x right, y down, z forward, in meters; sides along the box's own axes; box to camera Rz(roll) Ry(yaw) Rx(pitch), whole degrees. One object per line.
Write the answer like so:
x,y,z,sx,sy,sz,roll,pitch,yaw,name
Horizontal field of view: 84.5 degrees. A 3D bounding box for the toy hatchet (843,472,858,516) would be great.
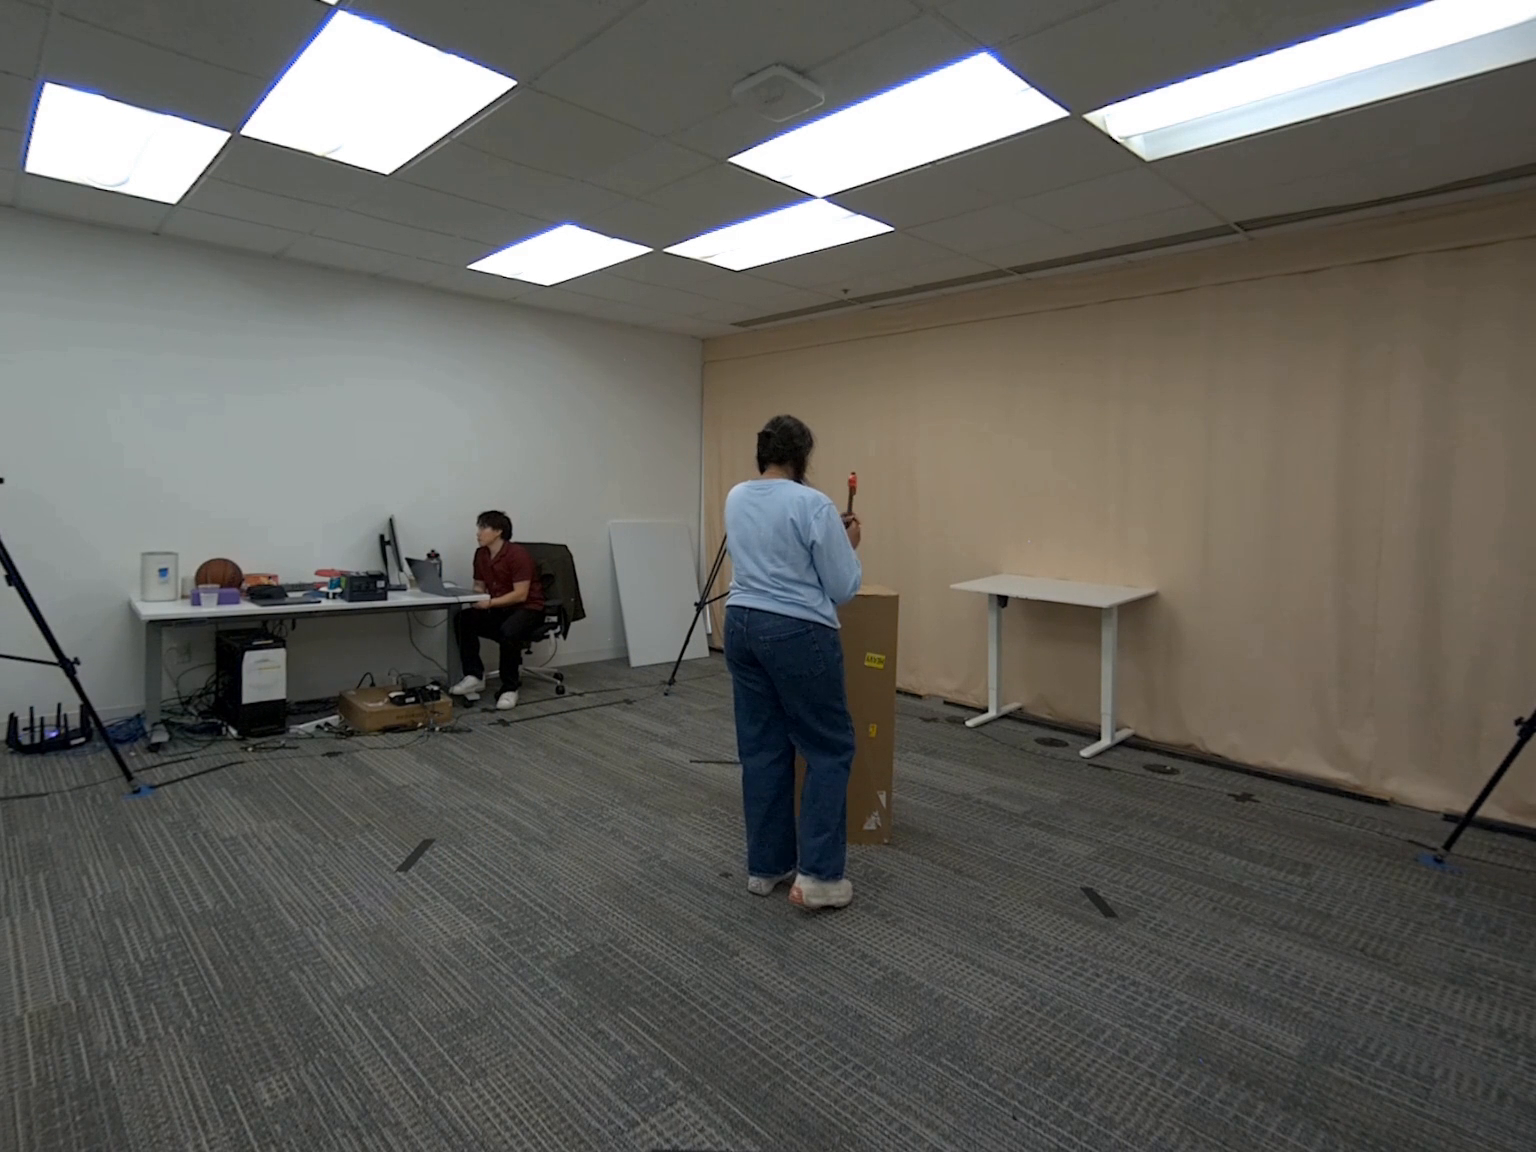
0.299,-0.252,3.081,0.030,0.267,0.131,5,18,11,toy hatchet
